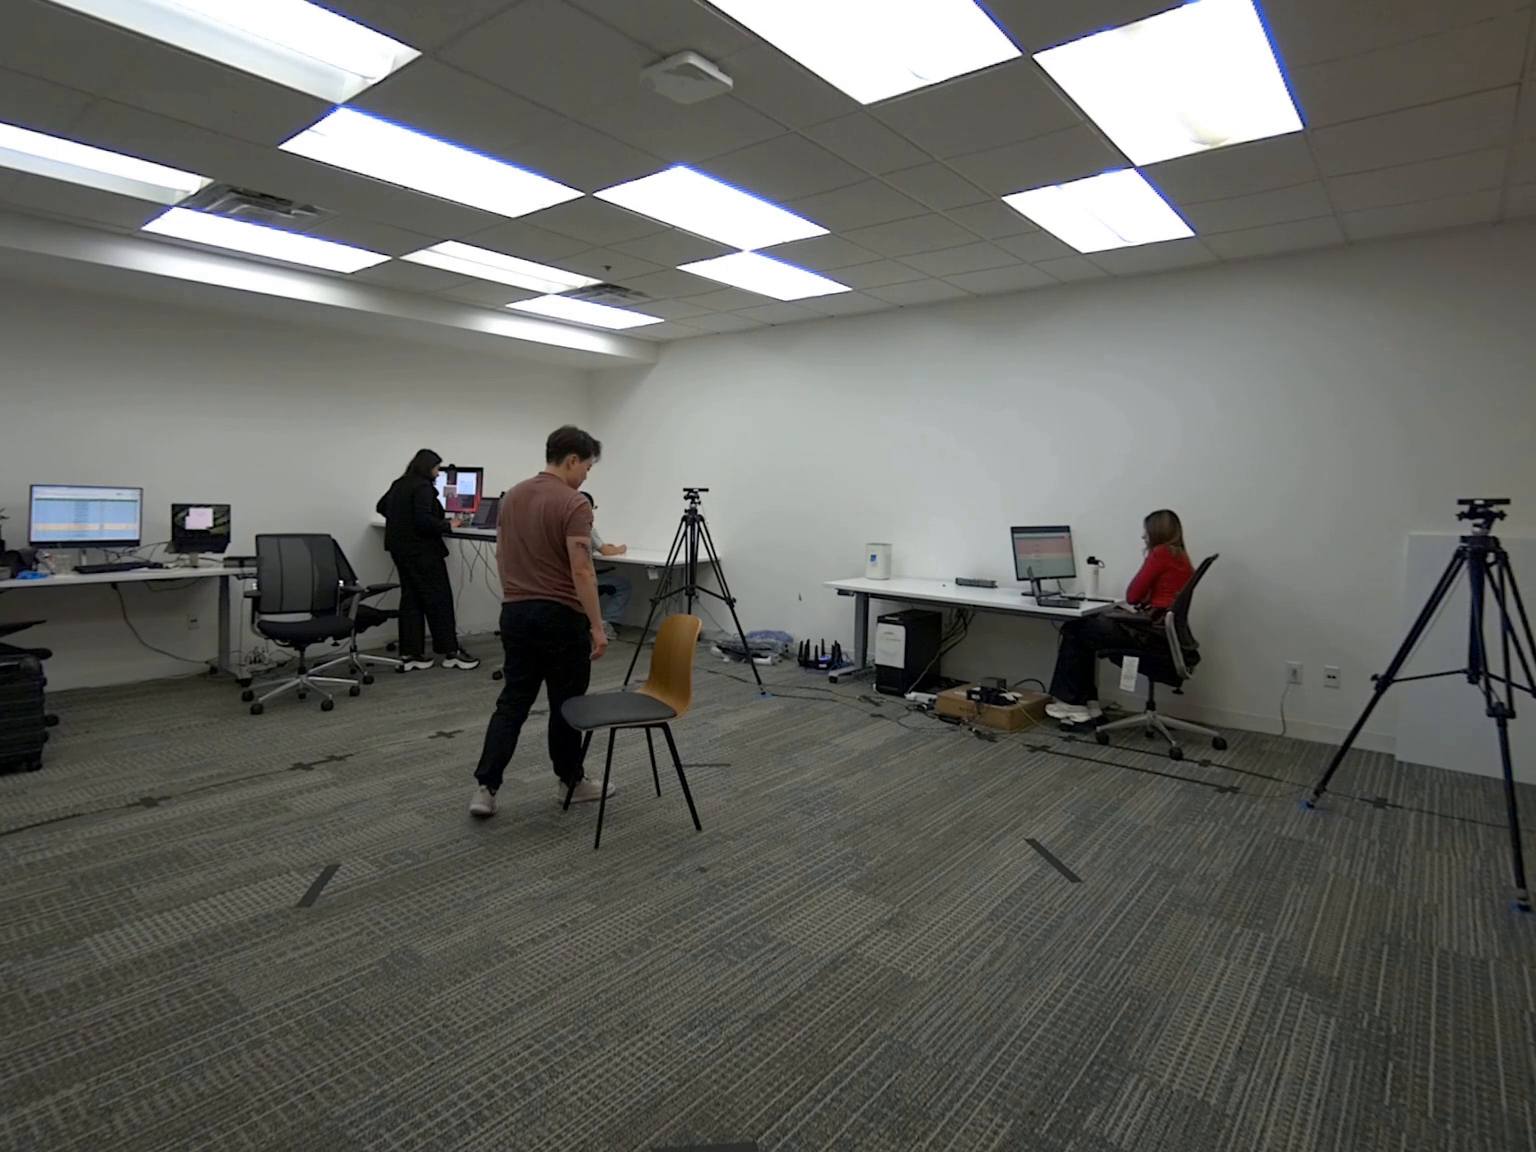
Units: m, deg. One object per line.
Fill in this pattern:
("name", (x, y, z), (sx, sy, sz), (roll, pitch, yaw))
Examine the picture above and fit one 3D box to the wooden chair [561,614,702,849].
("wooden chair", (-0.585, 0.596, 3.526), (0.509, 0.876, 0.492), (4, 2, -28))
